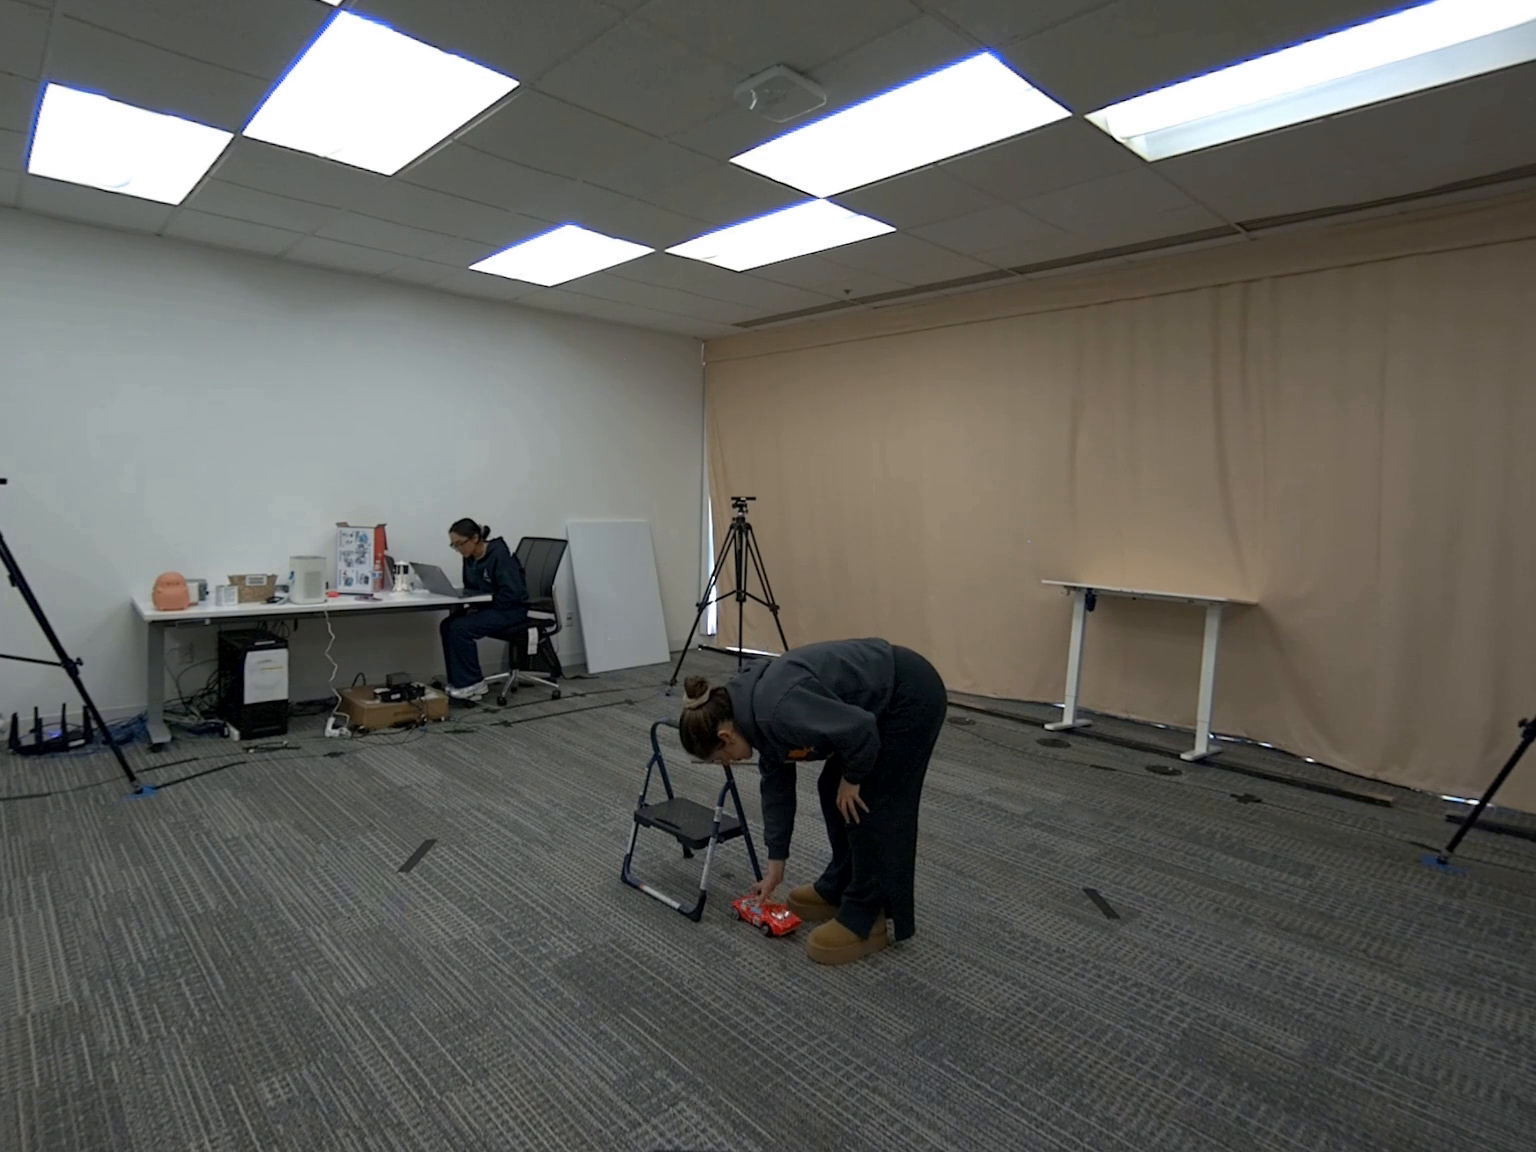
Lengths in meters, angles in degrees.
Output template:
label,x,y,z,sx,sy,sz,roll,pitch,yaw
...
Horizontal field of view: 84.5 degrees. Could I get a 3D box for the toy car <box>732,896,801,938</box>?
label,x,y,z,sx,sy,sz,roll,pitch,yaw
toy car,-0.004,1.113,2.757,0.127,0.083,0.260,-4,-2,-43
